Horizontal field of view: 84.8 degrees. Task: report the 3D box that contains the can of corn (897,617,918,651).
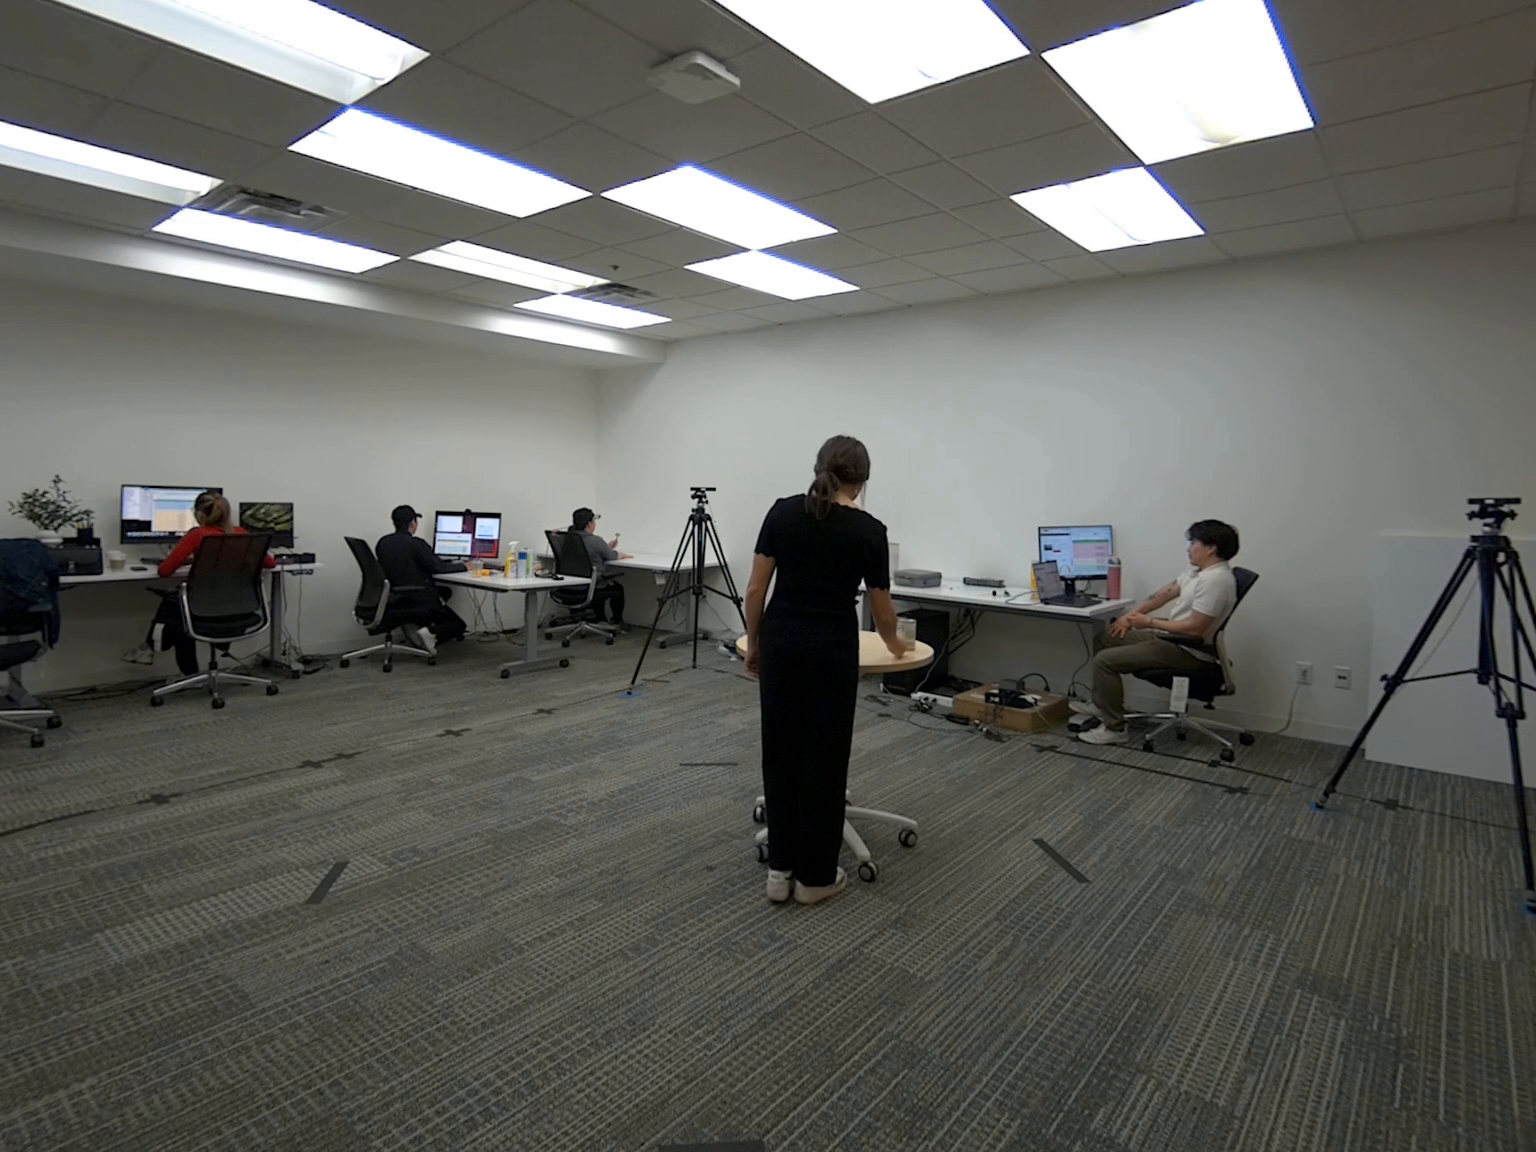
[{"bbox_3d":[0.534,0.223,3.282,0.074,0.110,0.074,2,5,-2],"label":"can of corn"}]
